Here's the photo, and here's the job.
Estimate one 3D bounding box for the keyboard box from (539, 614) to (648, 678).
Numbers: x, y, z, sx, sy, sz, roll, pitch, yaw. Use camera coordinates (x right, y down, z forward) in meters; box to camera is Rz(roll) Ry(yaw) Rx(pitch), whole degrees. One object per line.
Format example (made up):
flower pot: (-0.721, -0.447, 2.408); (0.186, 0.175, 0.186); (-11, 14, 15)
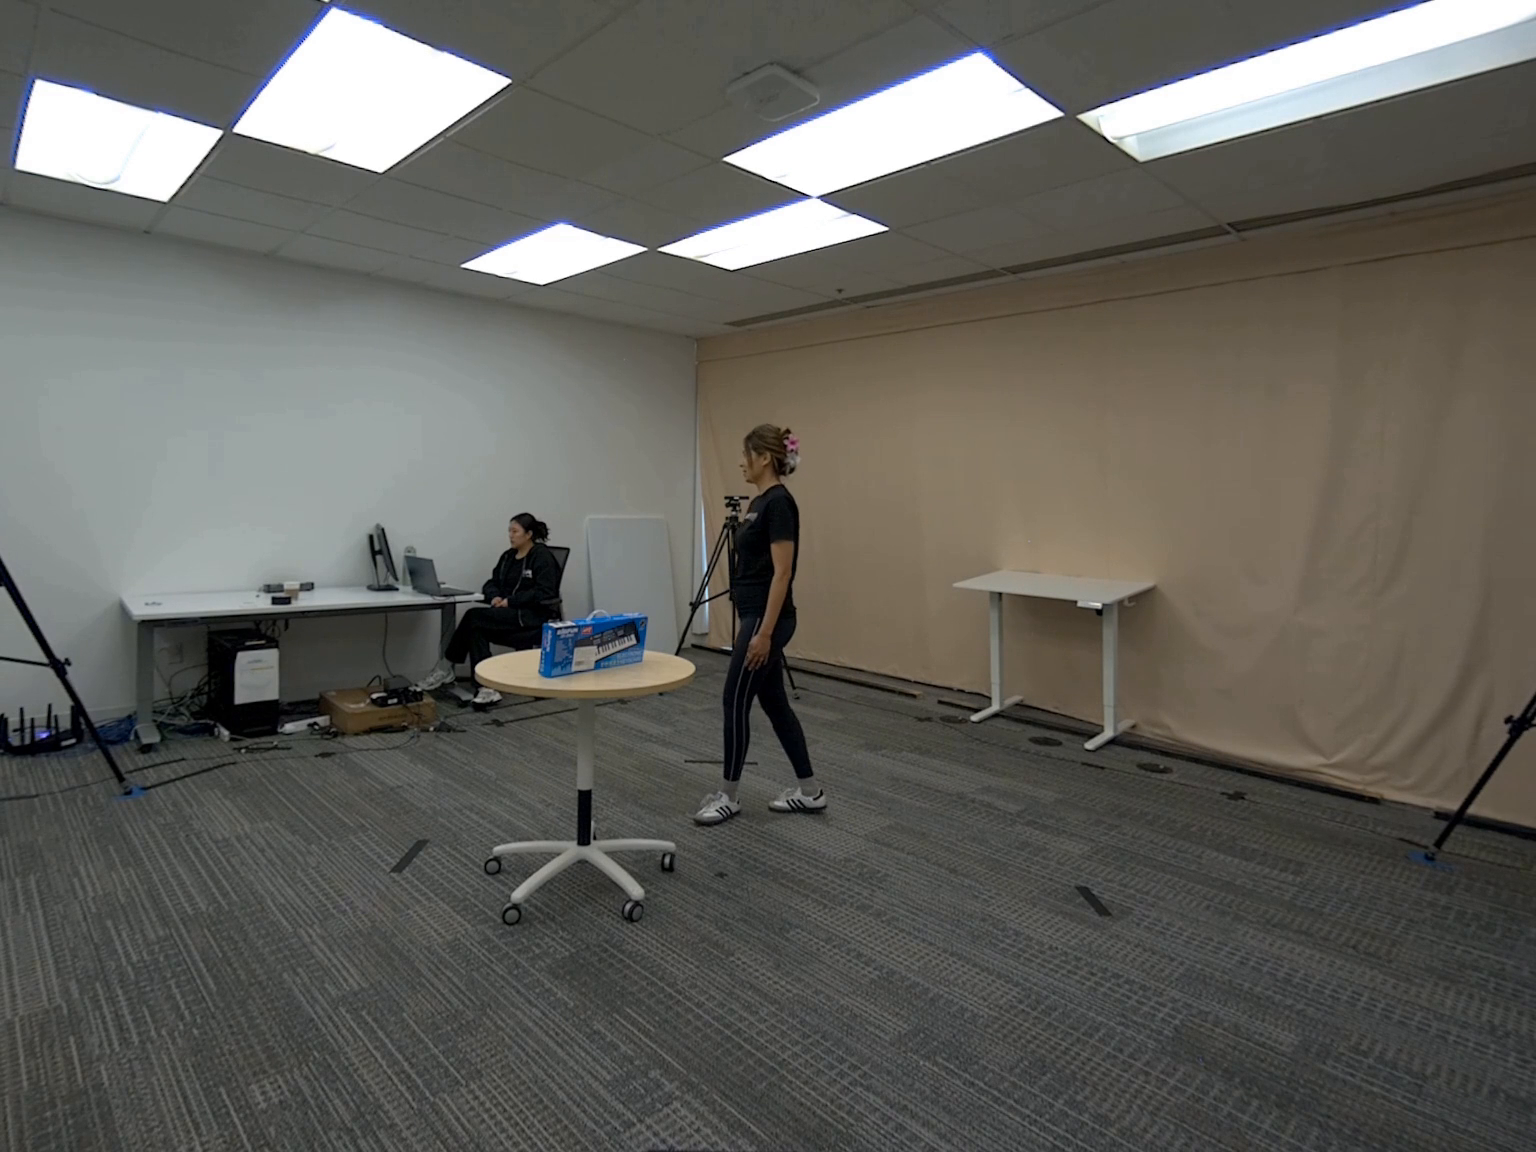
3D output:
keyboard box: (-0.607, 0.239, 2.929); (0.061, 0.175, 0.427); (14, 11, 35)
